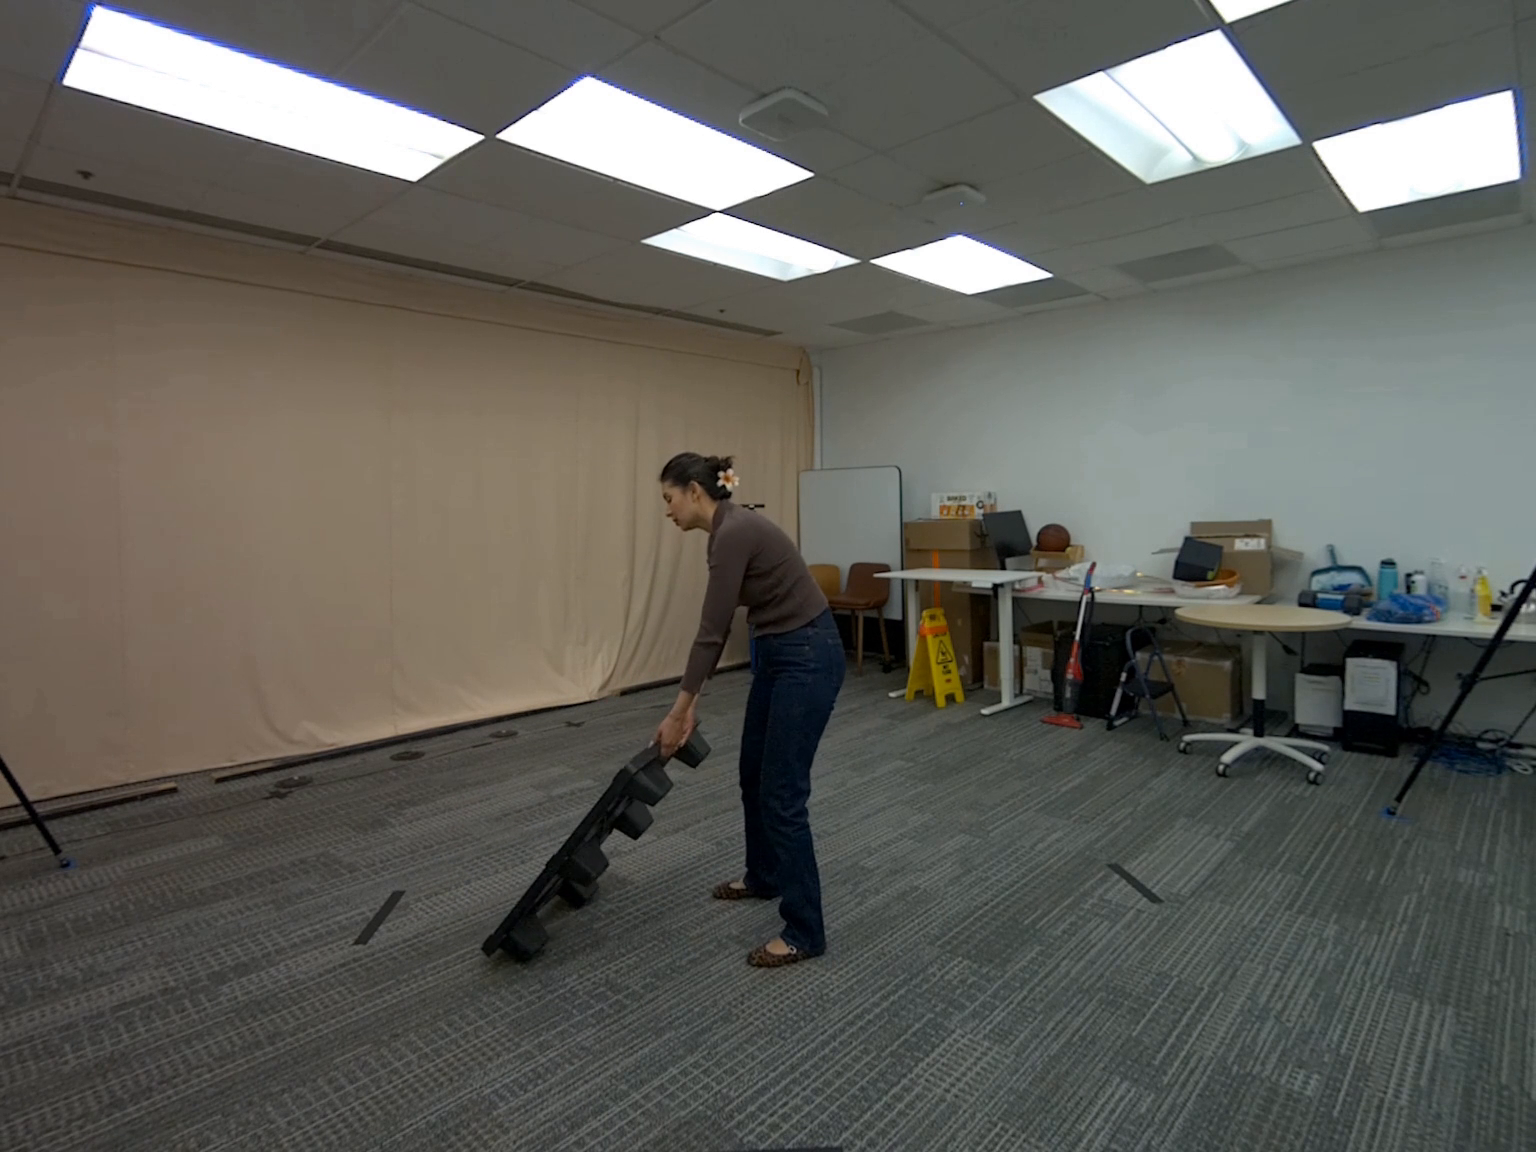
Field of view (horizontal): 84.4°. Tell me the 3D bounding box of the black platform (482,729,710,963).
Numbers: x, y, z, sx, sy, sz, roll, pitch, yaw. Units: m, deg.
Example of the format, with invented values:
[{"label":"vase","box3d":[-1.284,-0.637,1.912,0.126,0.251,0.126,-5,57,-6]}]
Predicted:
[{"label":"black platform","box3d":[-0.510,0.848,2.723,0.145,0.807,0.597,40,13,7]}]
